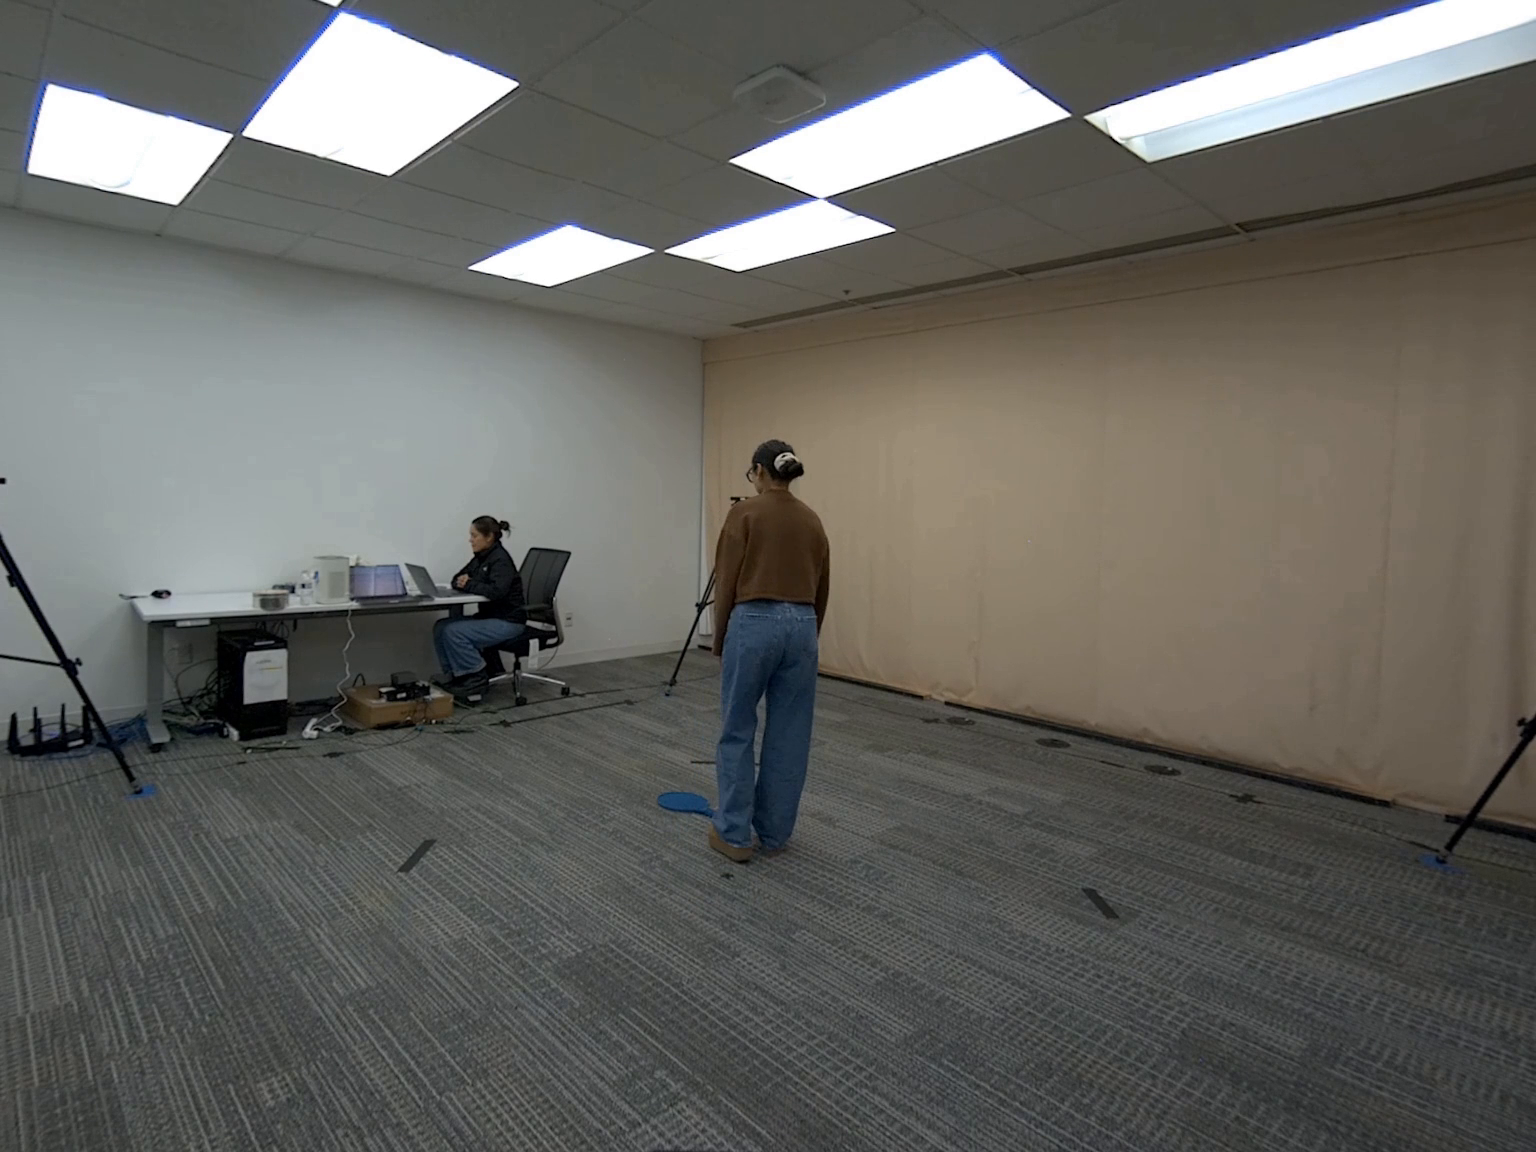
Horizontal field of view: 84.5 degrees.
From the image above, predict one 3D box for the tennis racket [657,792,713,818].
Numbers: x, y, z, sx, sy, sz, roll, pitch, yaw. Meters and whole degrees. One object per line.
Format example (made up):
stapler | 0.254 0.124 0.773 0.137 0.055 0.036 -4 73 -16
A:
tennis racket | -0.344 1.032 3.781 0.209 0.032 0.444 -4 6 -41
